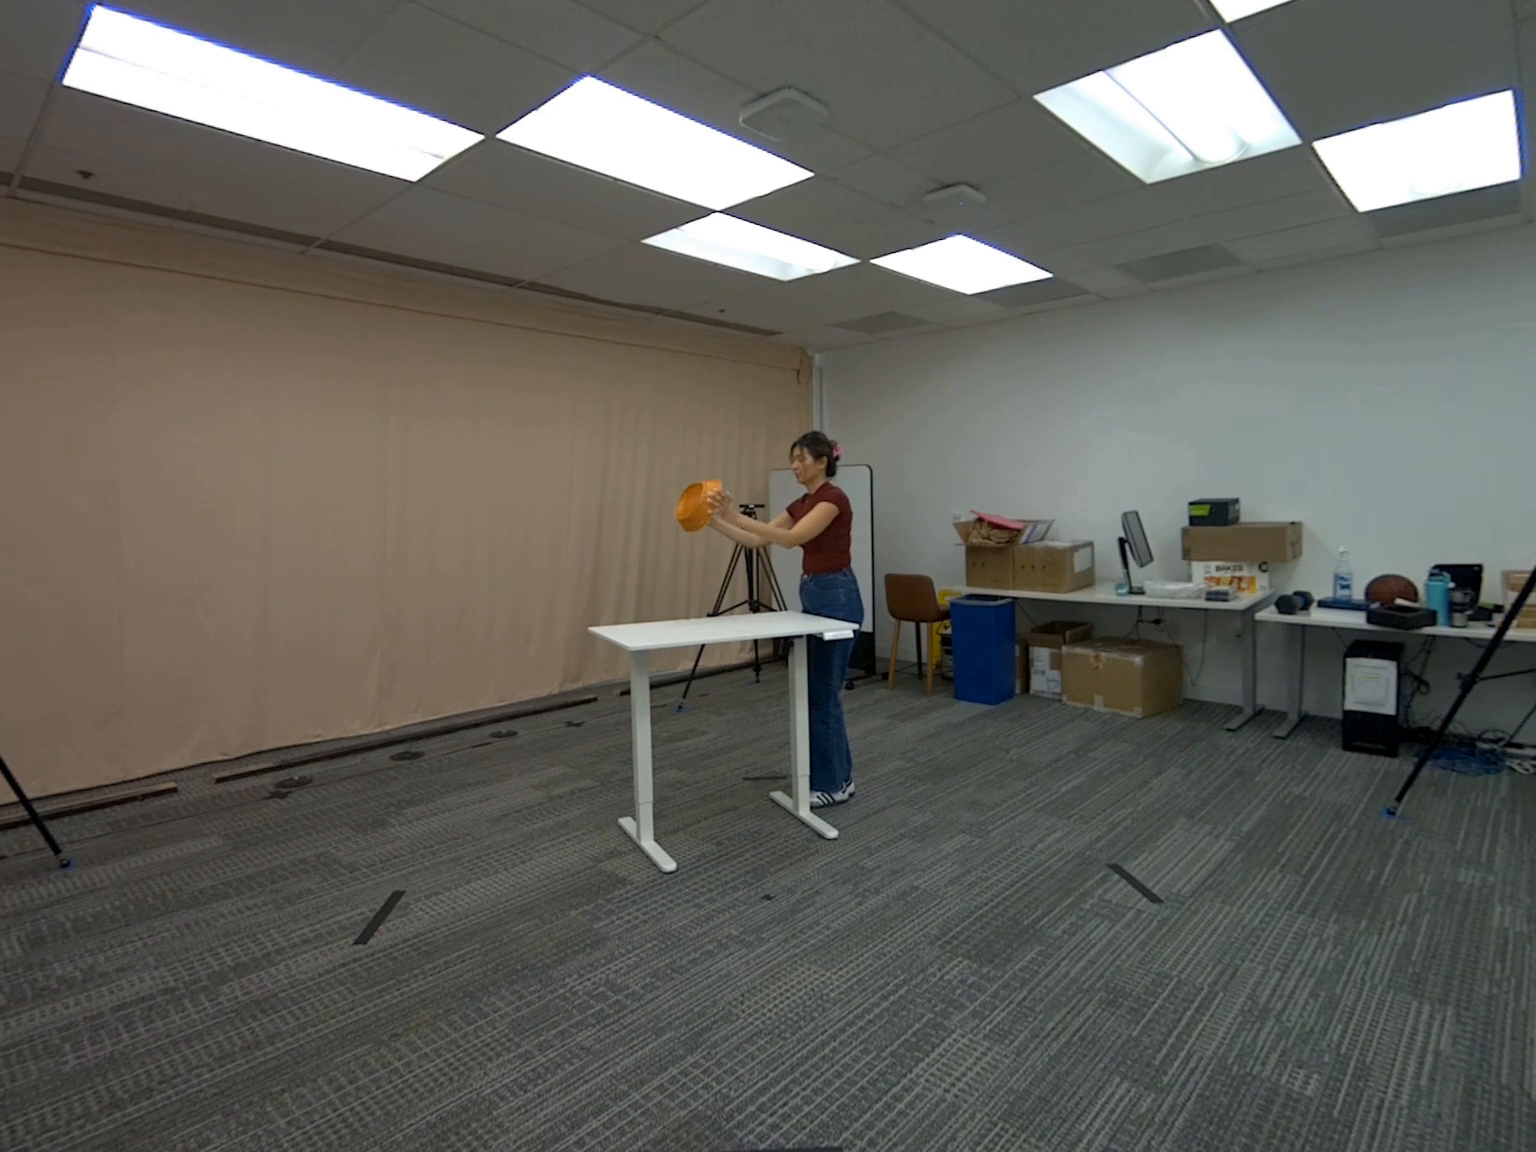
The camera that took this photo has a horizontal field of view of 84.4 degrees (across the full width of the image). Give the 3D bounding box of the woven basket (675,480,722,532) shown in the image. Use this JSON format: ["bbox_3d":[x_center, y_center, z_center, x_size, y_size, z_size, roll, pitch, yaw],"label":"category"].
[{"bbox_3d":[-0.314,-0.320,3.739,0.071,0.253,0.359,27,-15,-26],"label":"woven basket"}]
